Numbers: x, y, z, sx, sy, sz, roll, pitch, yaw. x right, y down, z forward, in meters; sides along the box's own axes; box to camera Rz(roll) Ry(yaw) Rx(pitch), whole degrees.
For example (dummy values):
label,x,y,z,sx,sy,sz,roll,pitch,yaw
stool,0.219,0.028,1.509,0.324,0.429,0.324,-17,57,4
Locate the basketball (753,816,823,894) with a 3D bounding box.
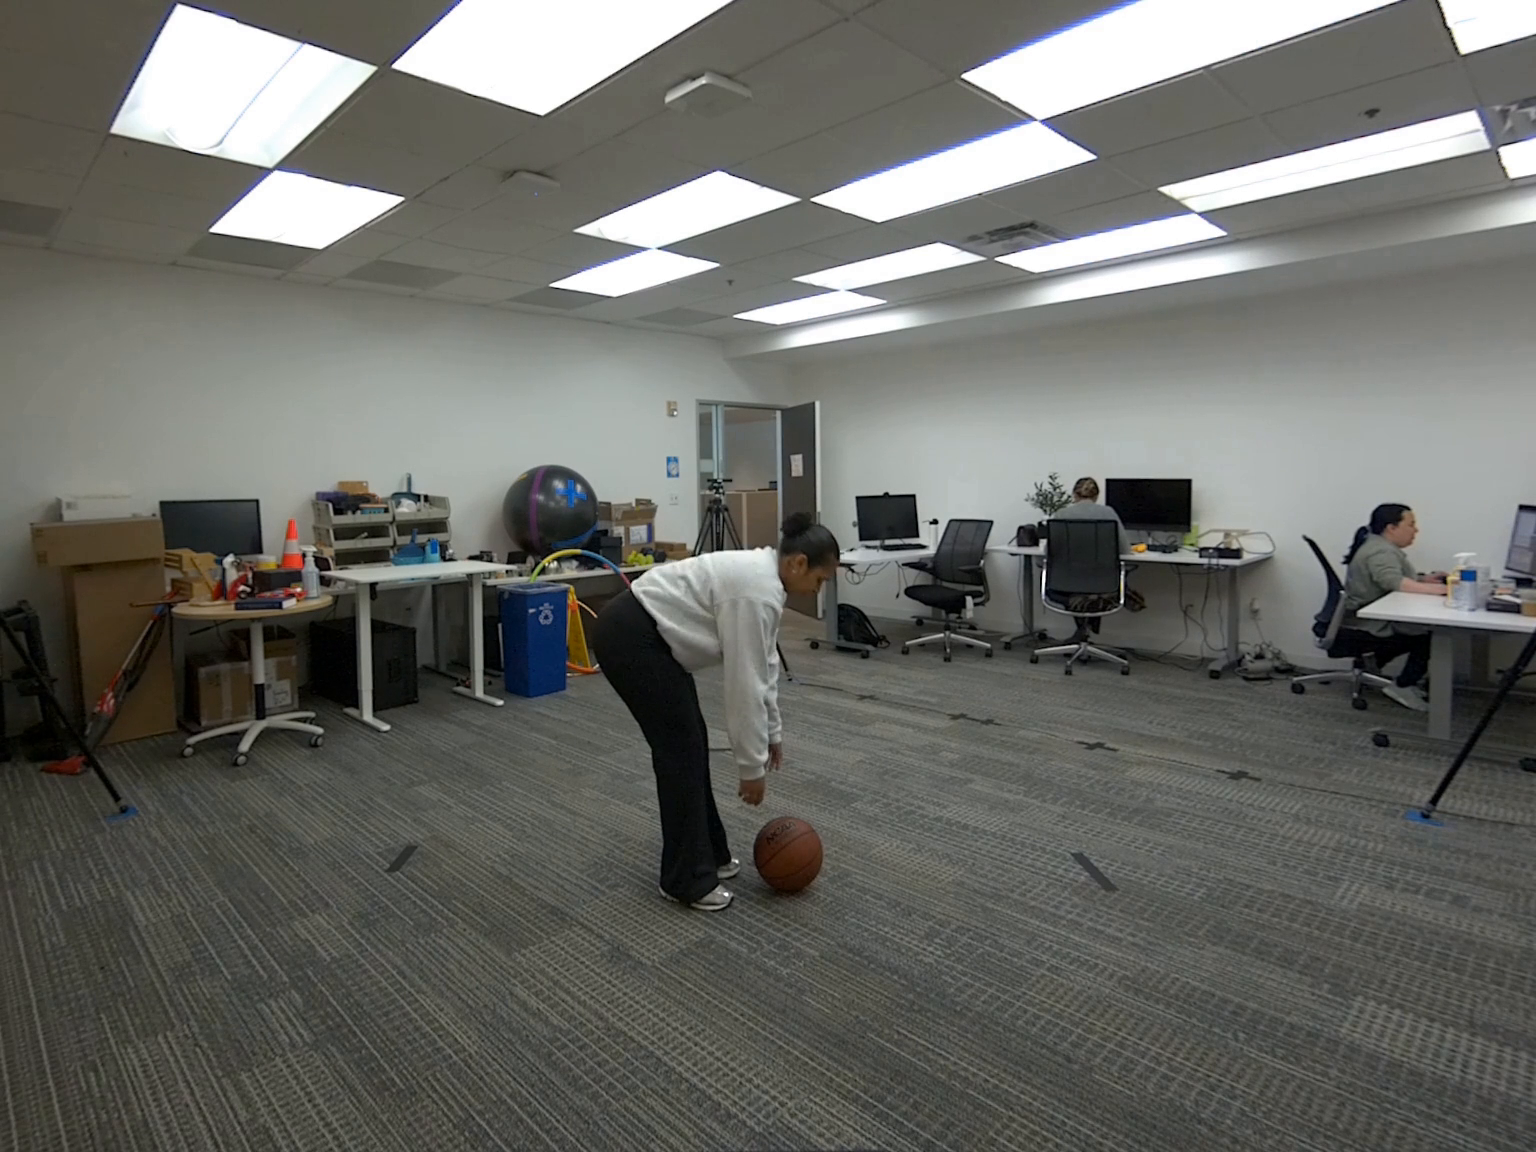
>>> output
label,x,y,z,sx,sy,sz,roll,pitch,yaw
basketball,0.070,0.937,2.910,0.236,0.235,0.237,-1,5,-2
